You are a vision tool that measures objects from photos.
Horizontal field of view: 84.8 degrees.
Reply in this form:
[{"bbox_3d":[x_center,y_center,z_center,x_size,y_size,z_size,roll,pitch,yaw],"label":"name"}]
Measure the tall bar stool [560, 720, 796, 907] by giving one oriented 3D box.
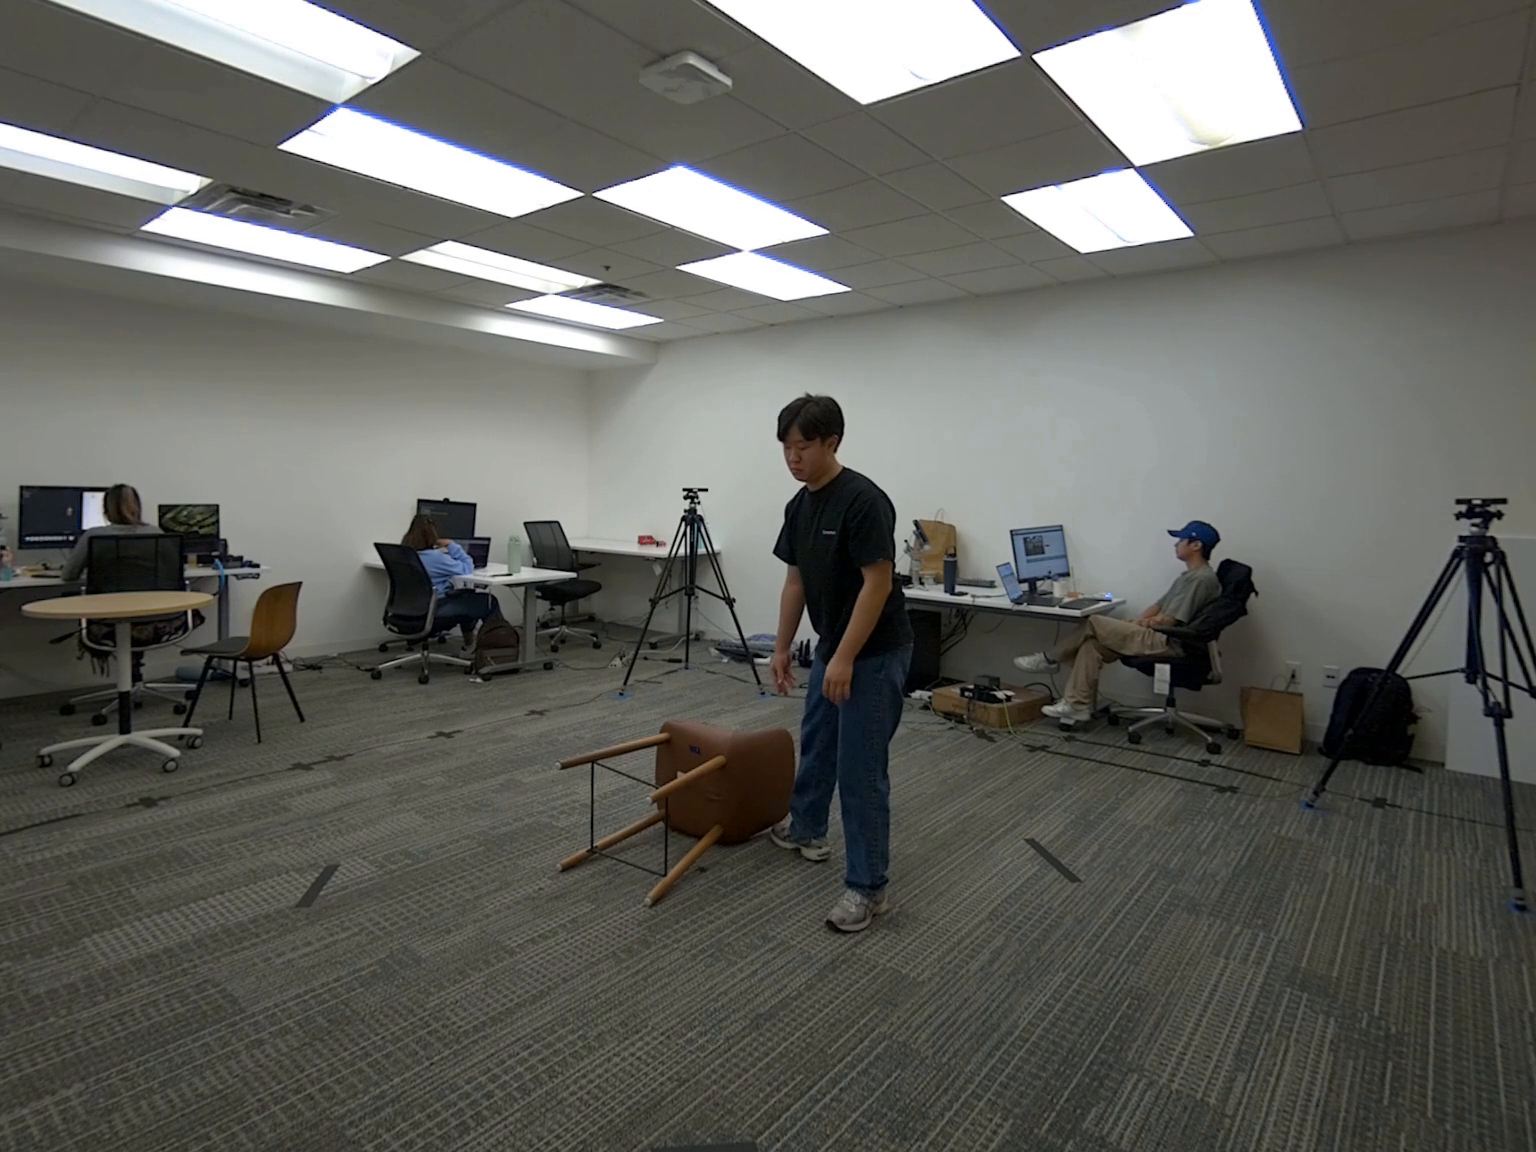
[{"bbox_3d":[-0.343,0.833,3.271,0.483,0.454,0.866,5,9,35],"label":"tall bar stool"}]
